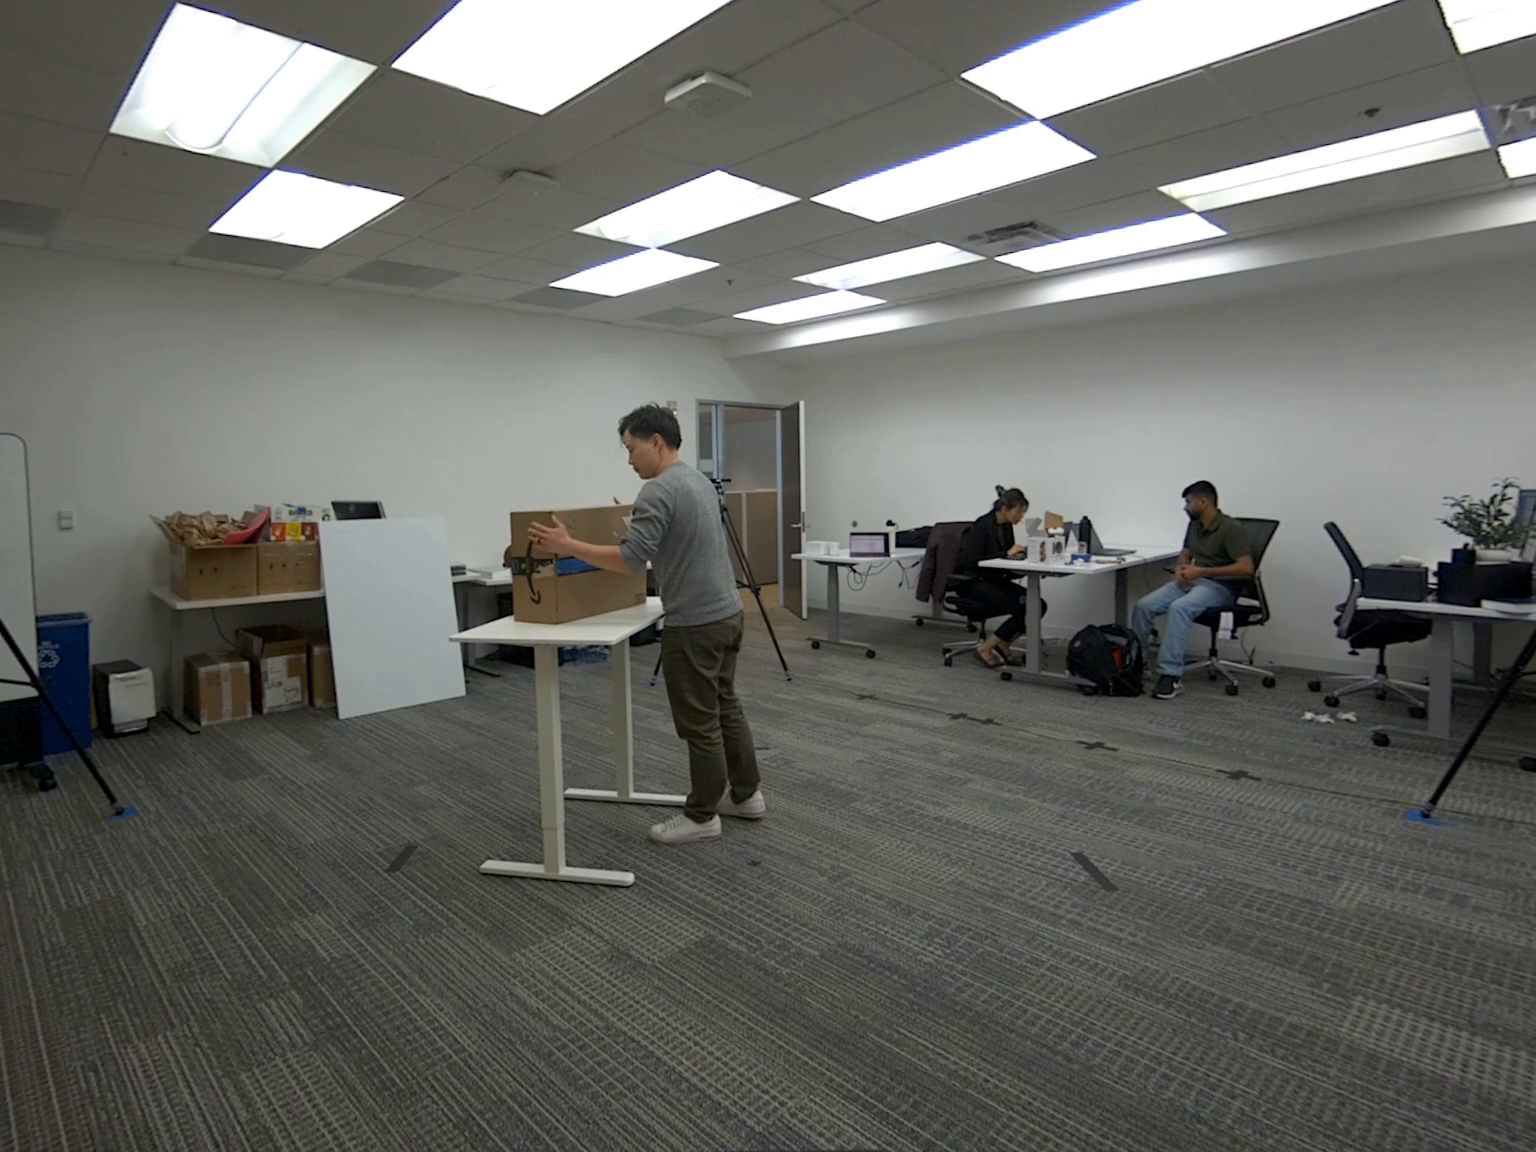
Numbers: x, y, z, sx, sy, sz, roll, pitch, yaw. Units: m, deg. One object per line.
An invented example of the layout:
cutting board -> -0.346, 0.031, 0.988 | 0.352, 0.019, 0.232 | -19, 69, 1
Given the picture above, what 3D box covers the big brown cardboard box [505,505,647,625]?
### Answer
big brown cardboard box -> -0.736, -0.063, 3.402 | 0.239, 0.416, 0.577 | 0, 6, 29
